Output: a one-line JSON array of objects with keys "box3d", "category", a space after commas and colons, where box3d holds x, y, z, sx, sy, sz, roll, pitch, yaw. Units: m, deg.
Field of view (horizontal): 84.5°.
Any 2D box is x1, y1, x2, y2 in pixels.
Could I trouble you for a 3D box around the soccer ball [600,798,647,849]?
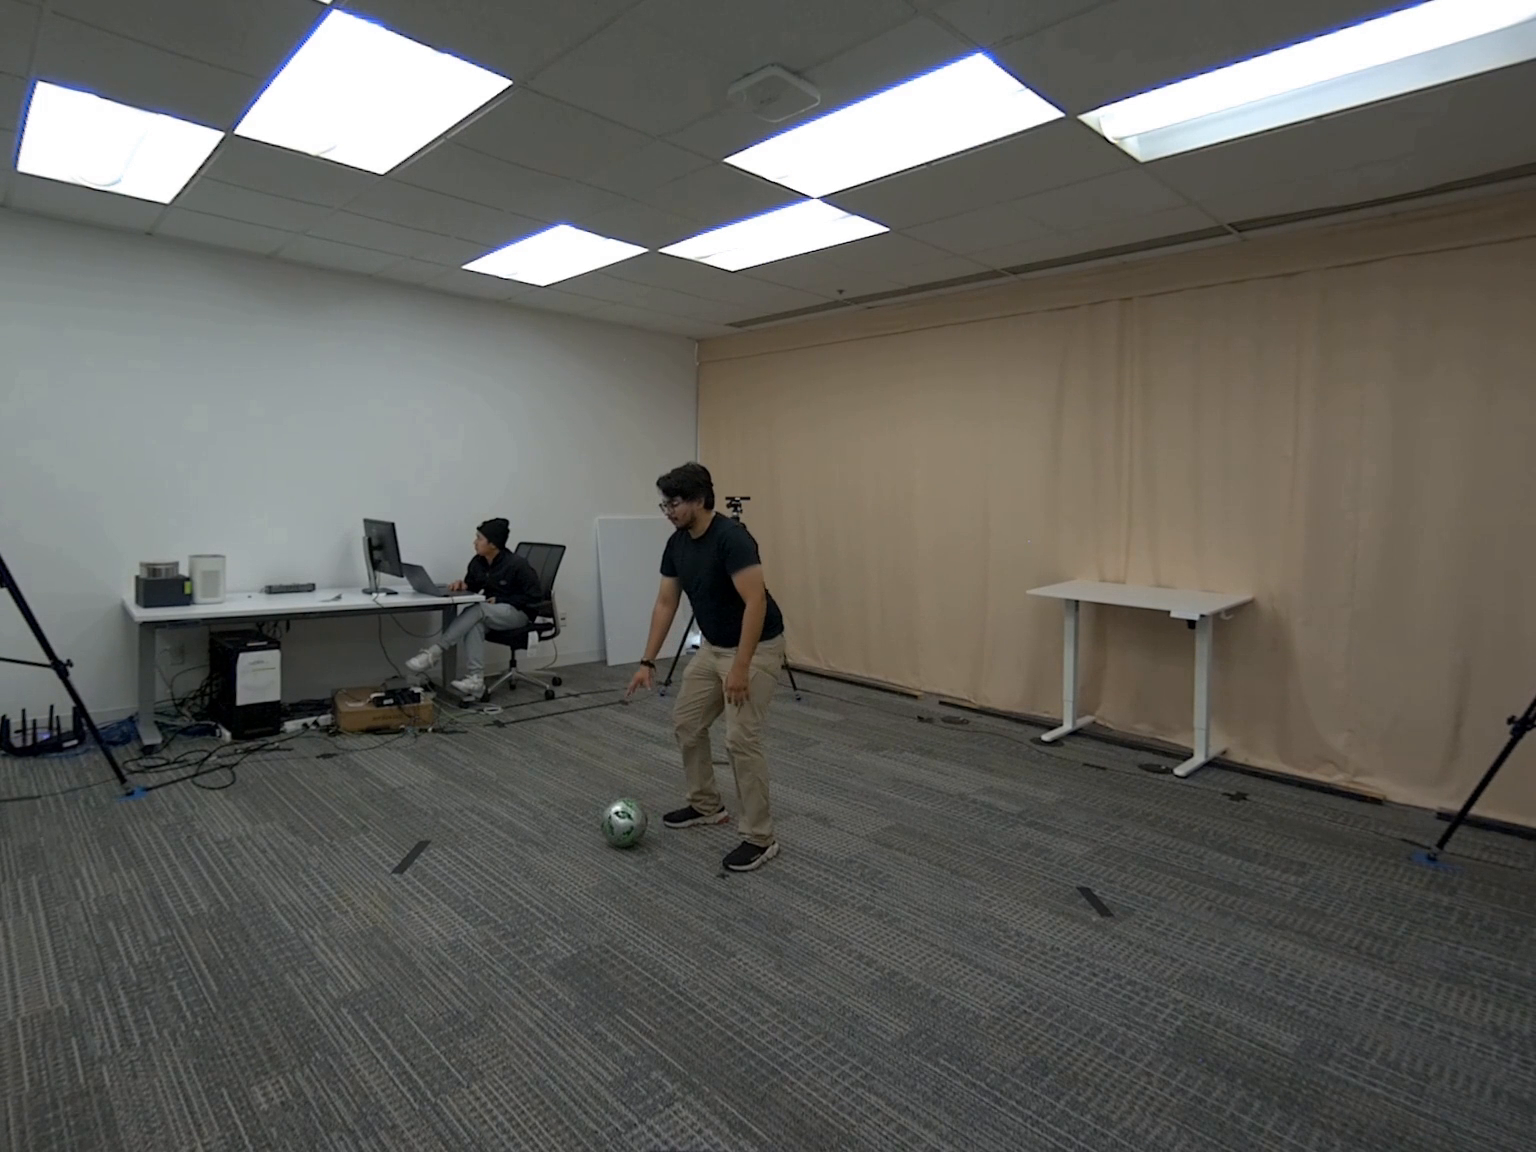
[{"box3d": [-0.573, 0.979, 3.356, 0.187, 0.187, 0.188, 1, 4, -1], "category": "soccer ball"}]
